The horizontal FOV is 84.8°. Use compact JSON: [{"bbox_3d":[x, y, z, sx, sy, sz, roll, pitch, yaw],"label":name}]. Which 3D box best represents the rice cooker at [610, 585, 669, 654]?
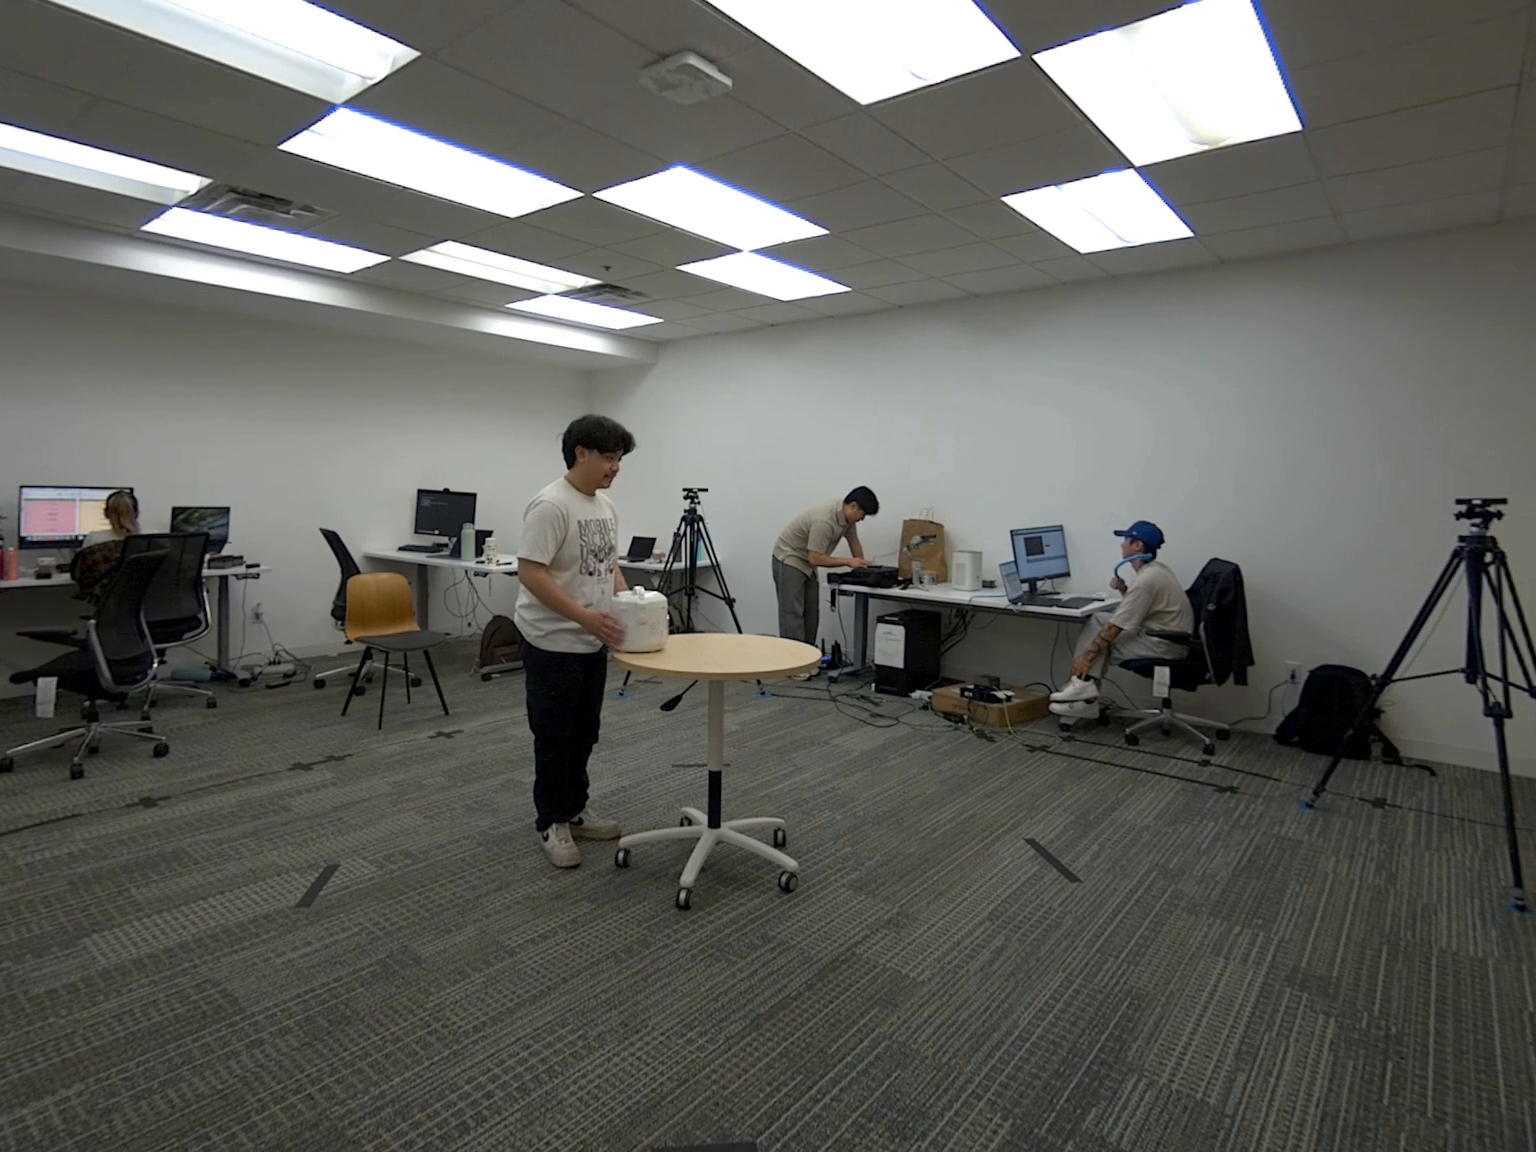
[{"bbox_3d":[-0.485,0.155,3.123,0.214,0.232,0.225,-1,5,-14],"label":"rice cooker"}]
